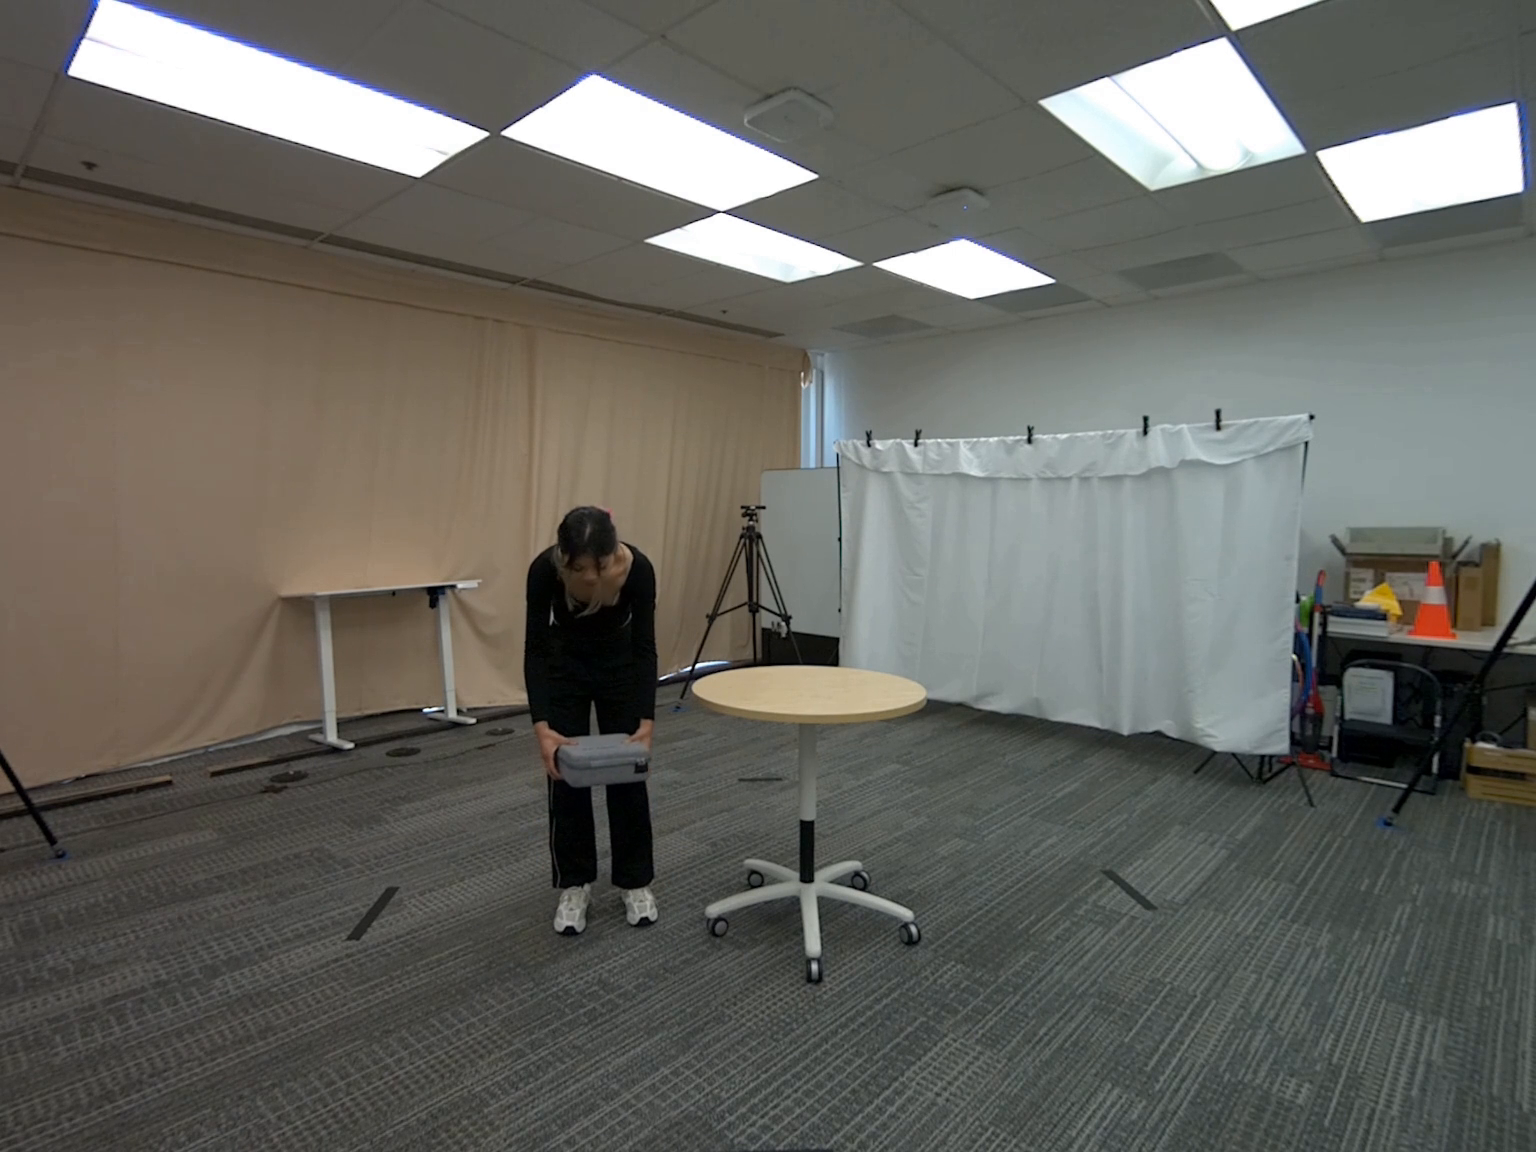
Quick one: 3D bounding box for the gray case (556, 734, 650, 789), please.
[{"bbox_3d":[-0.504,0.564,2.585,0.251,0.104,0.267,-2,2,-26],"label":"gray case"}]
